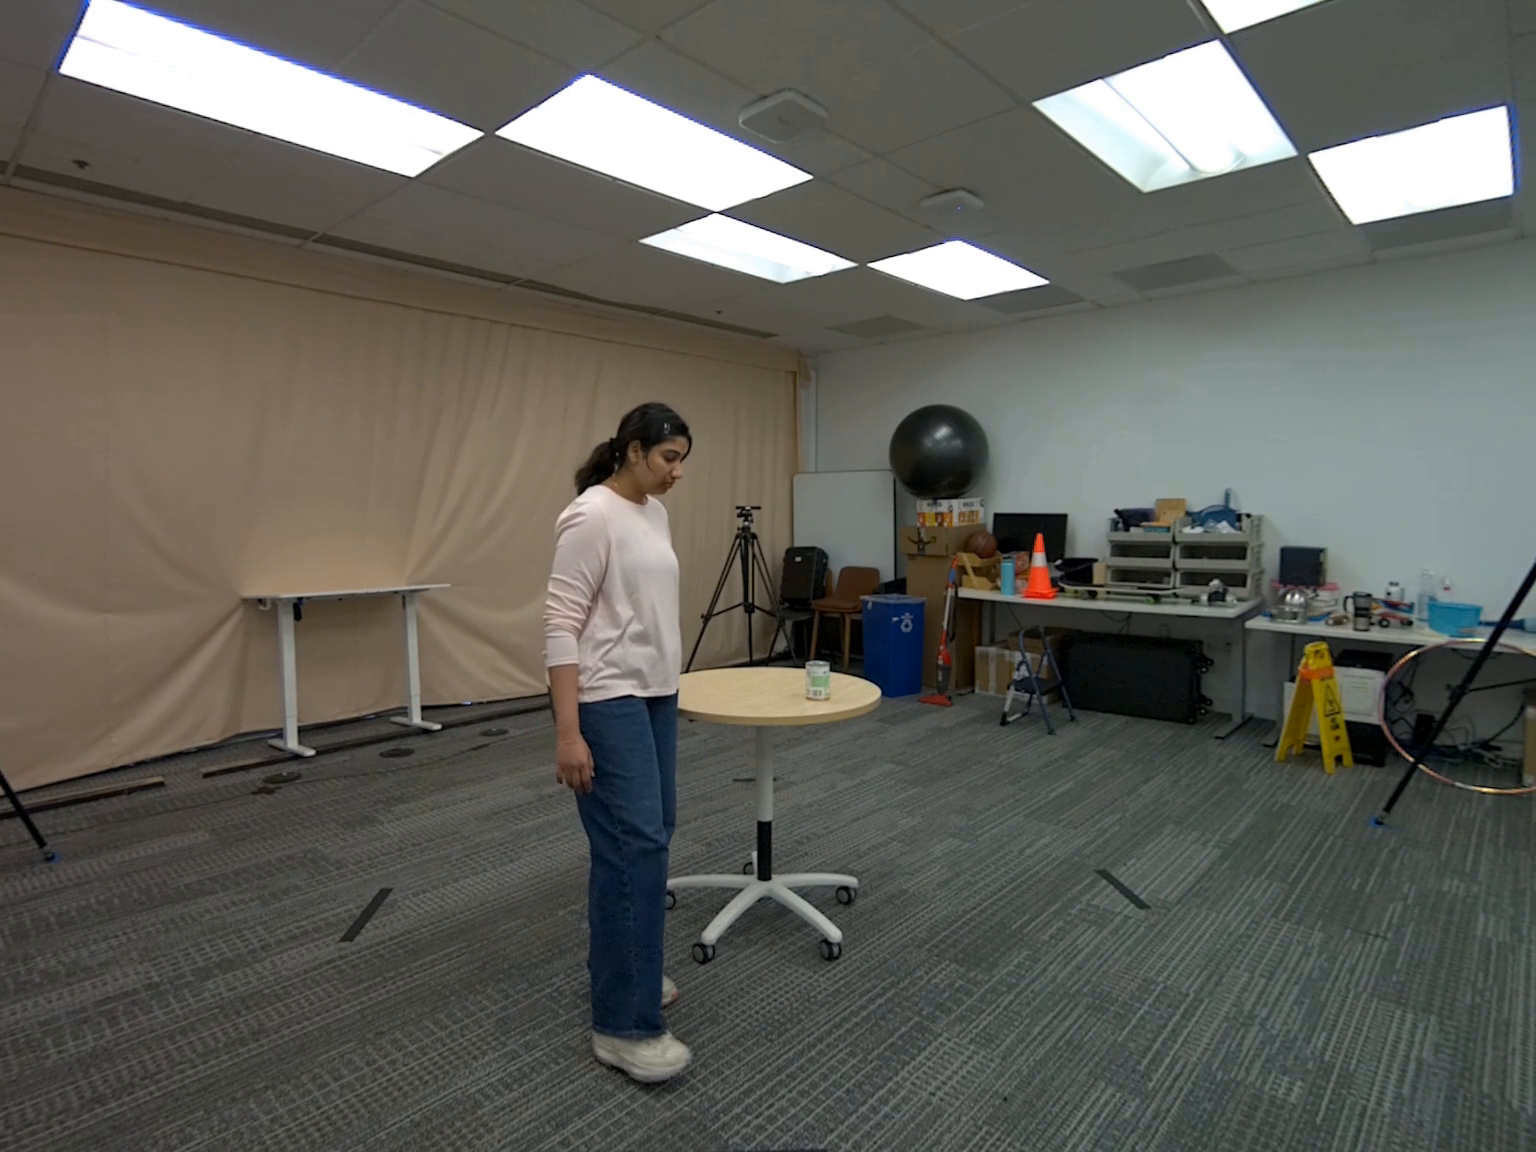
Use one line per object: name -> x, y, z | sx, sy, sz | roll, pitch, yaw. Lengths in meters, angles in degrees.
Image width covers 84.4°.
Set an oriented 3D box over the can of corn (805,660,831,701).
can of corn -> 0.165, 0.331, 2.641 | 0.074, 0.111, 0.074 | 1, 3, -2
